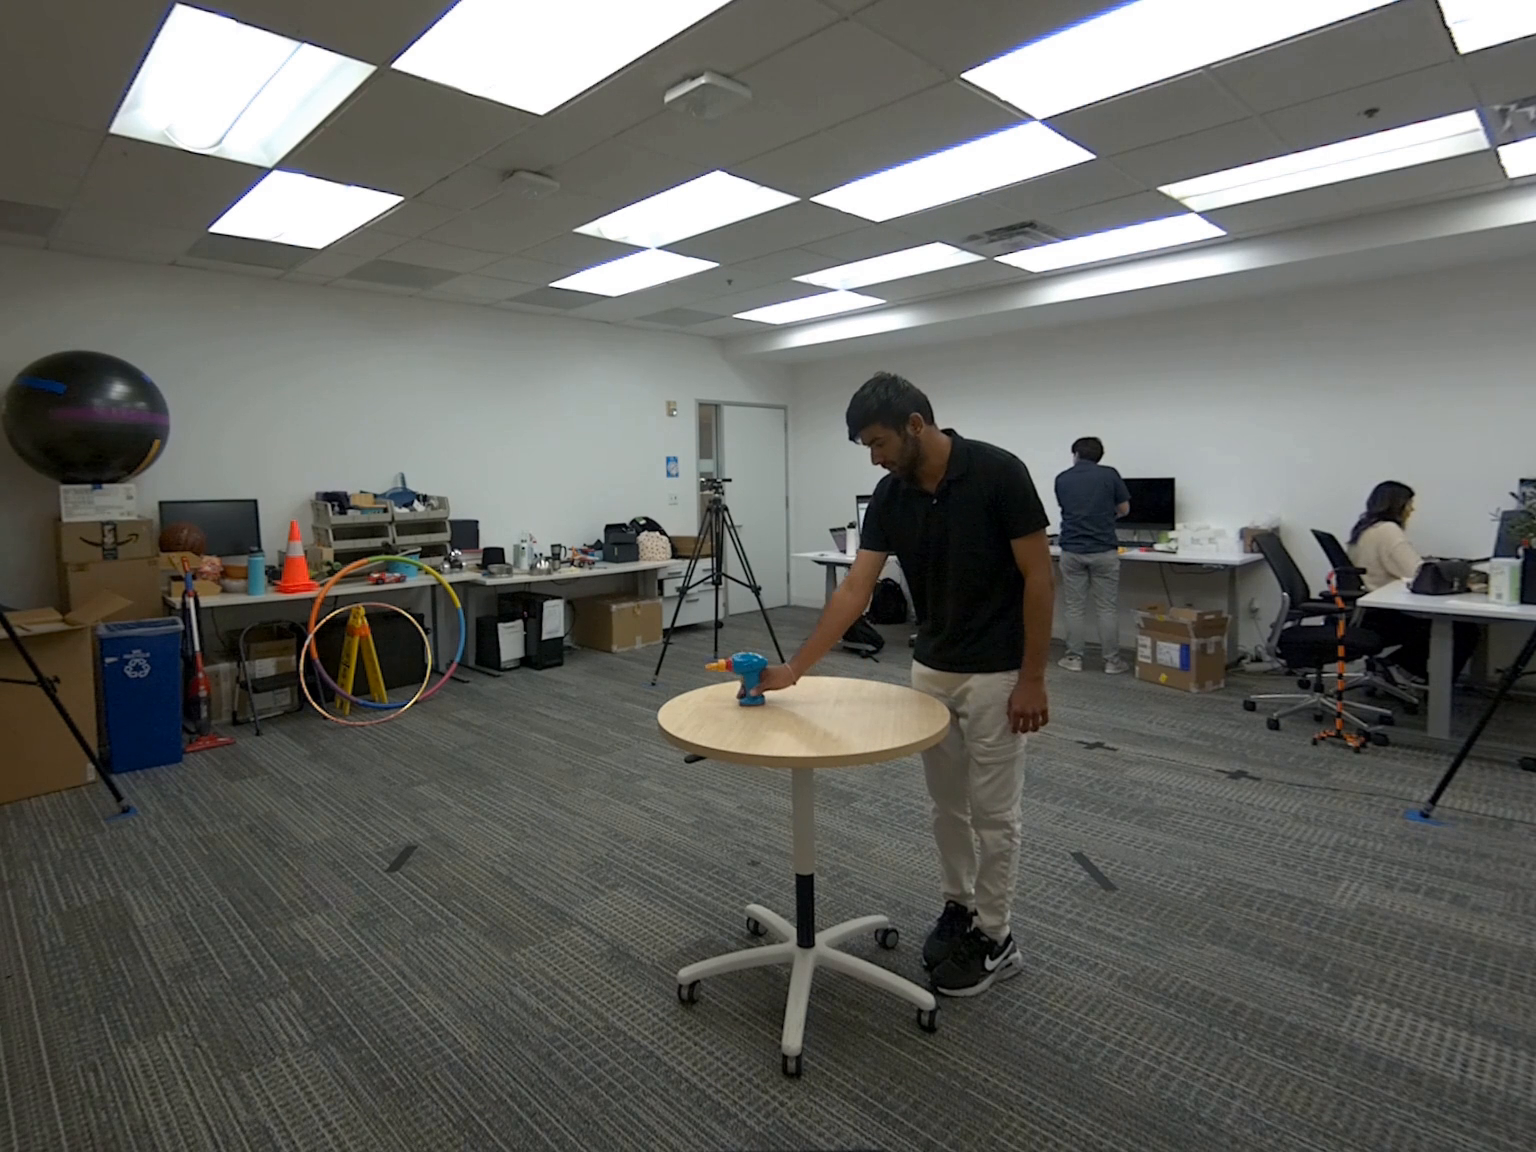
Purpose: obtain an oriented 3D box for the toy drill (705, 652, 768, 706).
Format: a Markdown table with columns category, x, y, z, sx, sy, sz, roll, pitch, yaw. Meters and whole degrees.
| category | x | y | z | sx | sy | sz | roll | pitch | yaw |
| --- | --- | --- | --- | --- | --- | --- | --- | --- | --- |
| toy drill | -0.069 | 0.281 | 2.322 | 0.168 | 0.146 | 0.061 | -3 | 0 | -8 |
